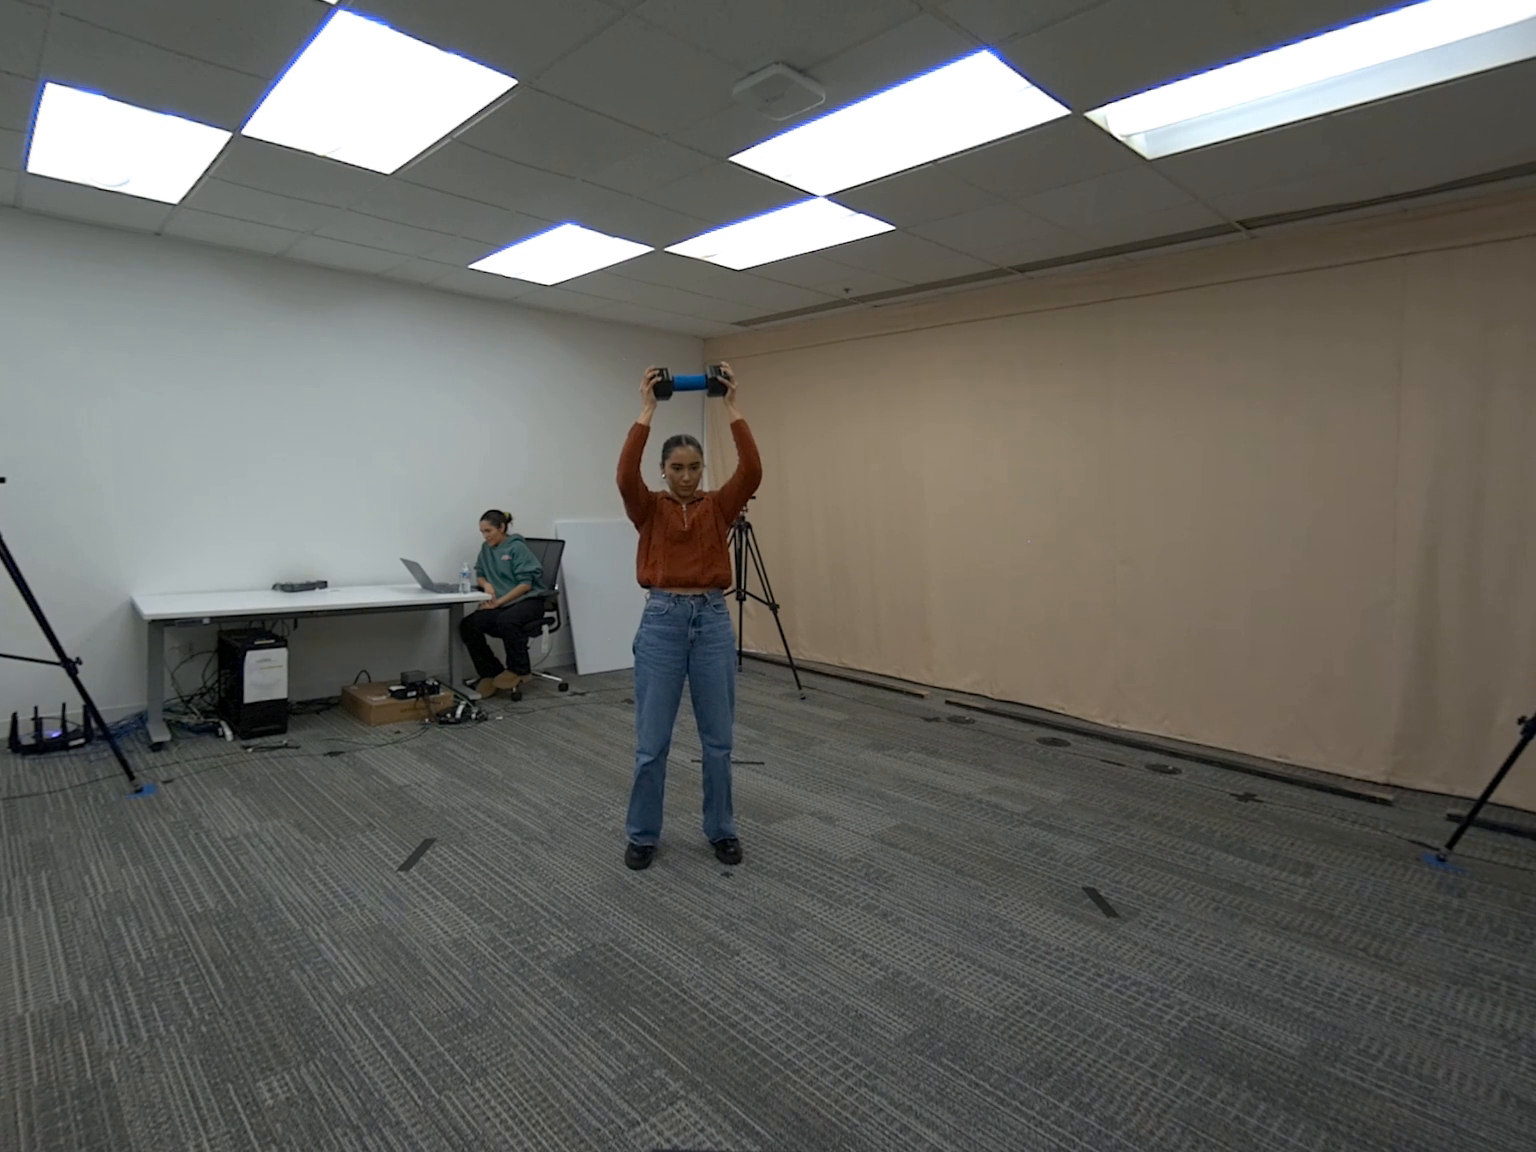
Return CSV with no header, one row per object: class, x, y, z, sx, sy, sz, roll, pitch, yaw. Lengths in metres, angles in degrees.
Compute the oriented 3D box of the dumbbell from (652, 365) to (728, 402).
dumbbell,-0.299,-0.706,3.087,0.291,0.126,0.107,-6,-33,-12
